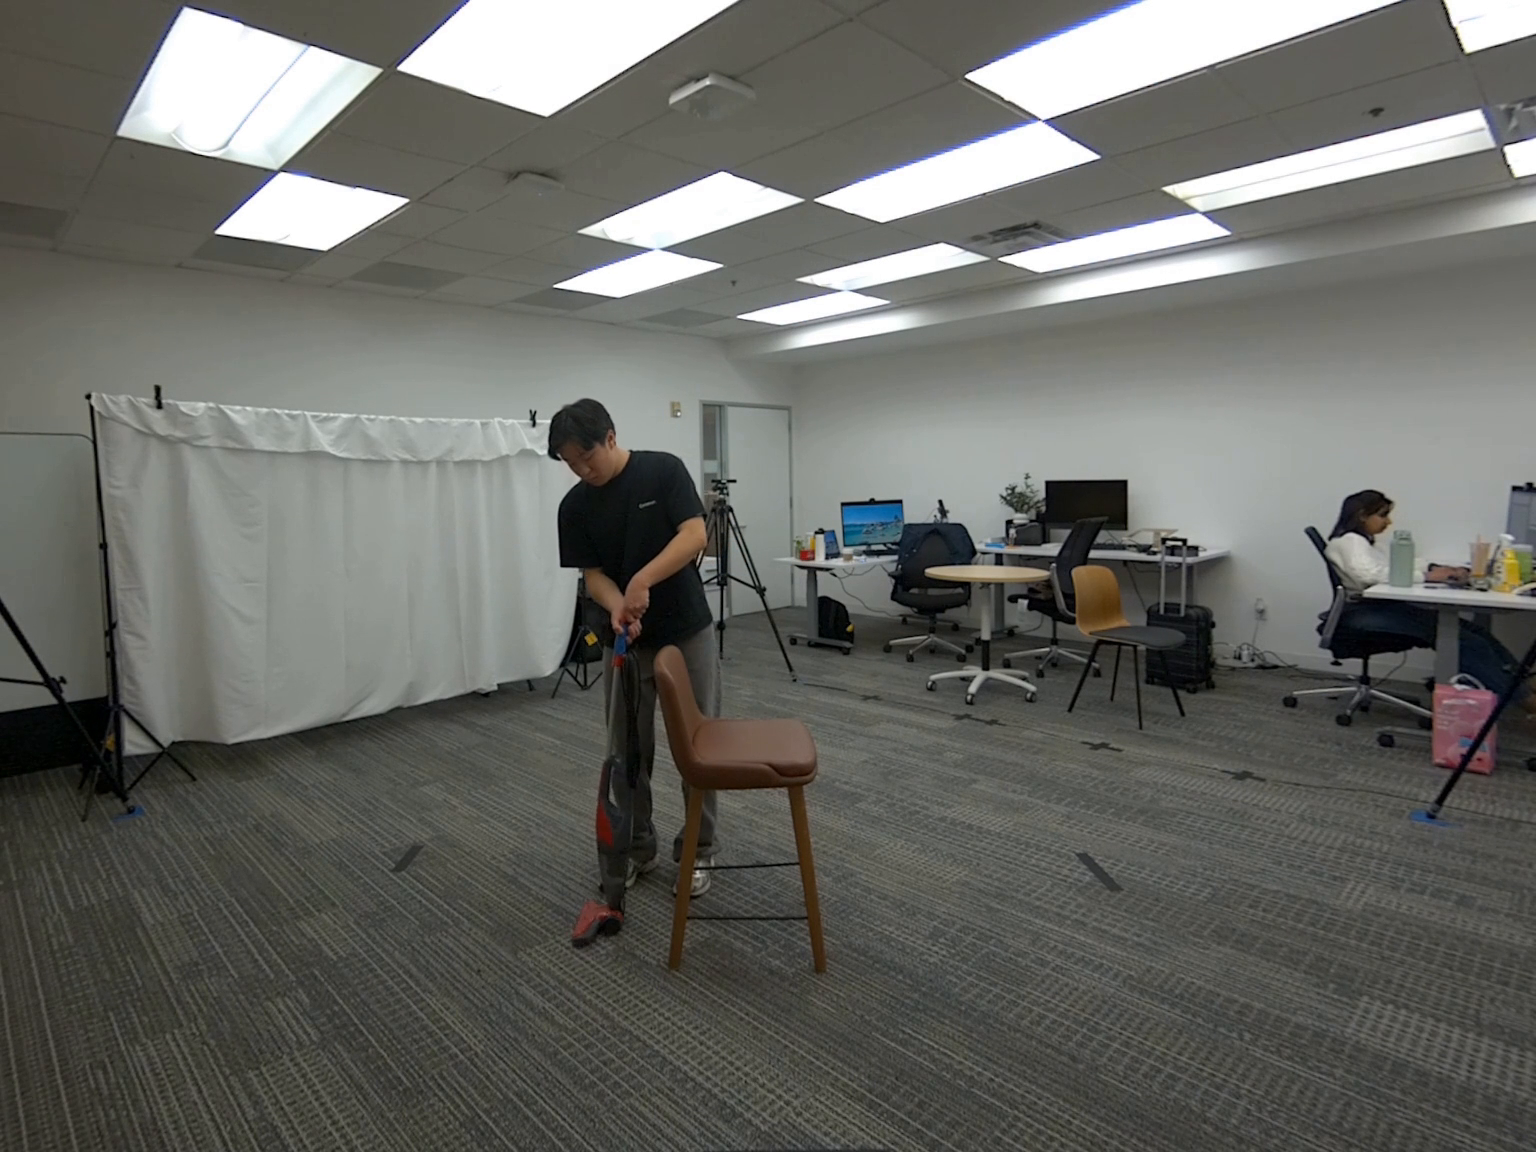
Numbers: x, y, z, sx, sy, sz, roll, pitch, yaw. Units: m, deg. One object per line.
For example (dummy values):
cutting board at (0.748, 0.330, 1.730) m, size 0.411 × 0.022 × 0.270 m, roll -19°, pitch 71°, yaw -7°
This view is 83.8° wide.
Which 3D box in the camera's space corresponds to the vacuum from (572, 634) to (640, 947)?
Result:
vacuum at (-0.473, 0.592, 2.694) m, size 0.143 × 1.050 × 0.255 m, roll 5°, pitch 0°, yaw -9°
